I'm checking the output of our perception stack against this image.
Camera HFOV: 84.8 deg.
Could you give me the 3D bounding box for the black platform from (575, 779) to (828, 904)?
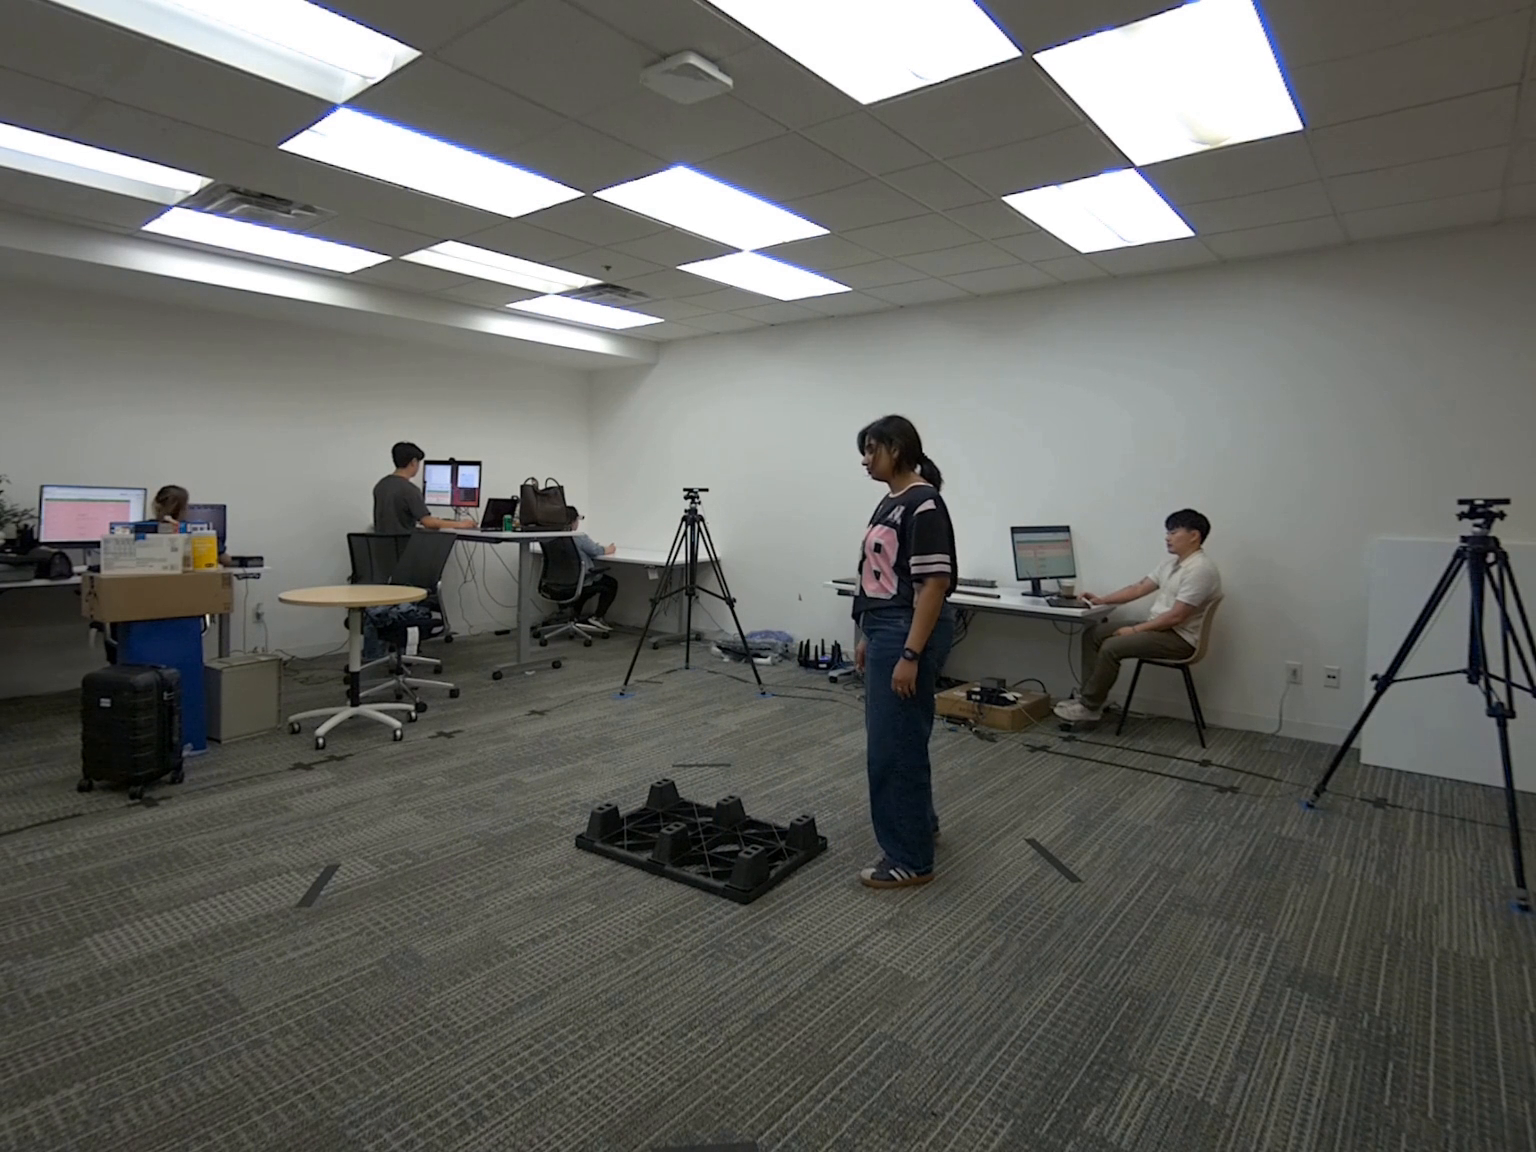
[{"bbox_3d":[-0.260,0.986,3.305,0.831,0.143,0.589,5,7,32],"label":"black platform"}]
